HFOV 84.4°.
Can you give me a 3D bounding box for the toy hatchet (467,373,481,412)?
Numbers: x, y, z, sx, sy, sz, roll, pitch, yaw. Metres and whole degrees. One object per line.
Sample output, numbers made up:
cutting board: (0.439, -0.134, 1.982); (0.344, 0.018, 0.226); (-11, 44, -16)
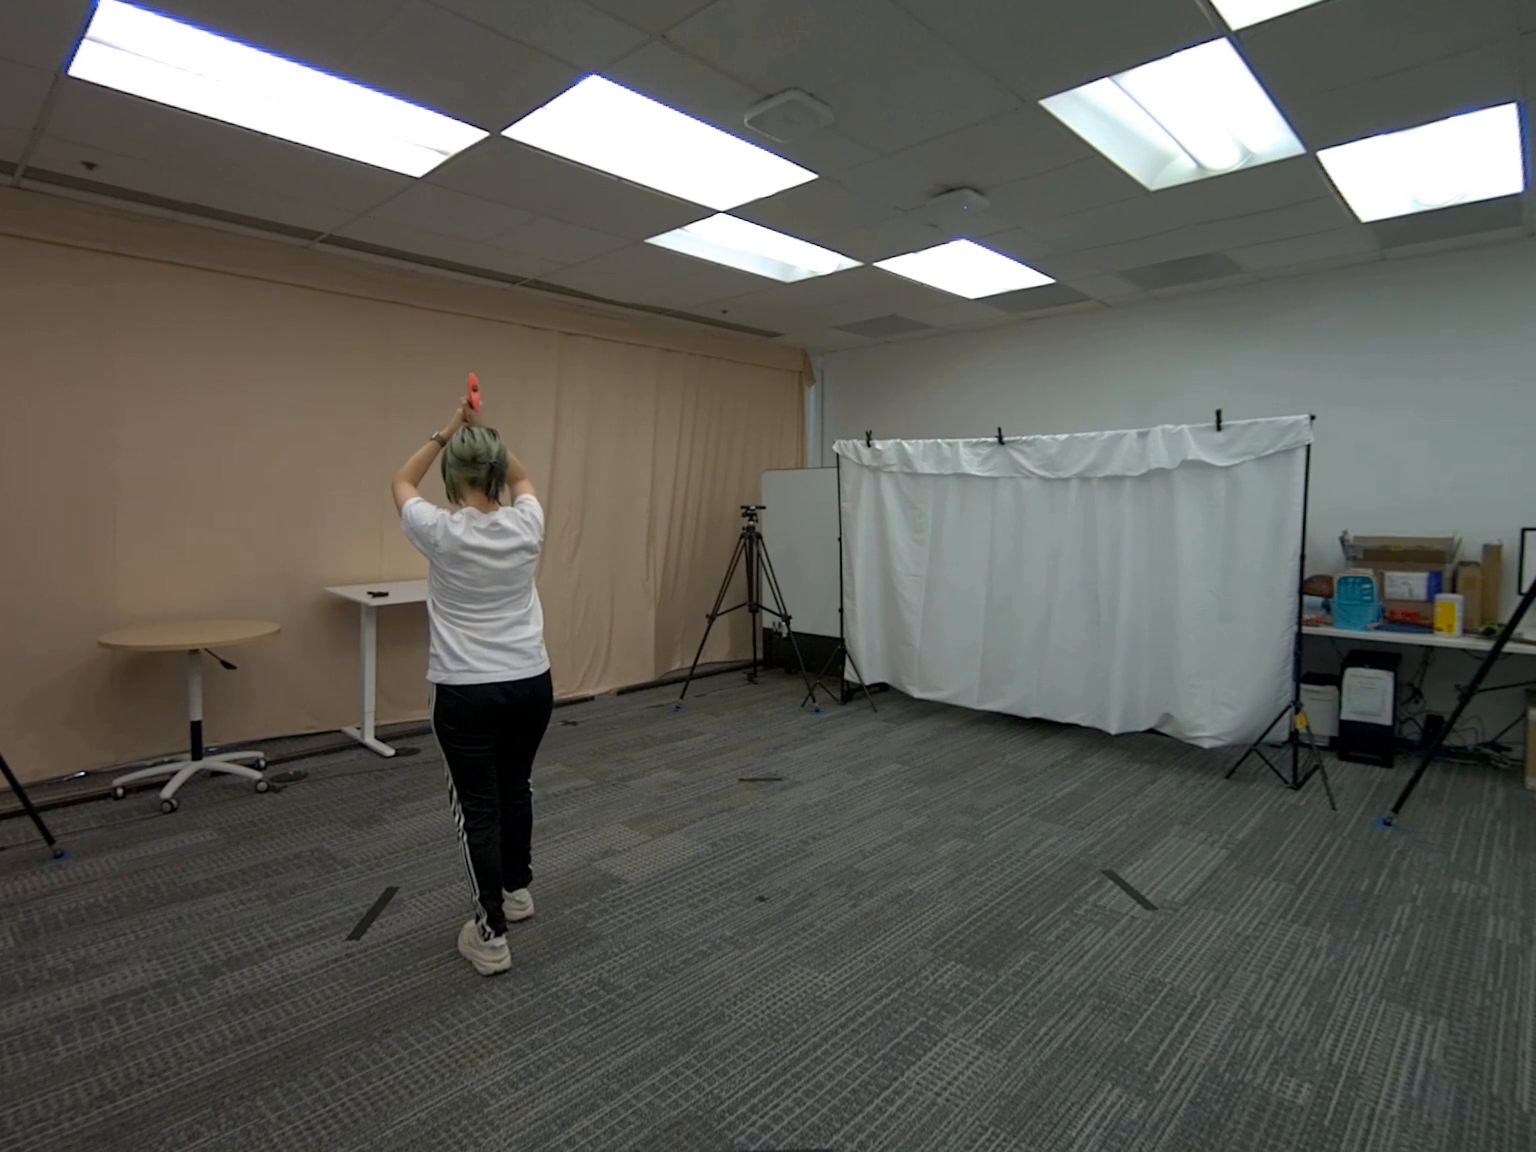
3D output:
toy hatchet: (-0.953, -0.566, 2.692); (0.029, 0.131, 0.276); (-1, -1, -25)
